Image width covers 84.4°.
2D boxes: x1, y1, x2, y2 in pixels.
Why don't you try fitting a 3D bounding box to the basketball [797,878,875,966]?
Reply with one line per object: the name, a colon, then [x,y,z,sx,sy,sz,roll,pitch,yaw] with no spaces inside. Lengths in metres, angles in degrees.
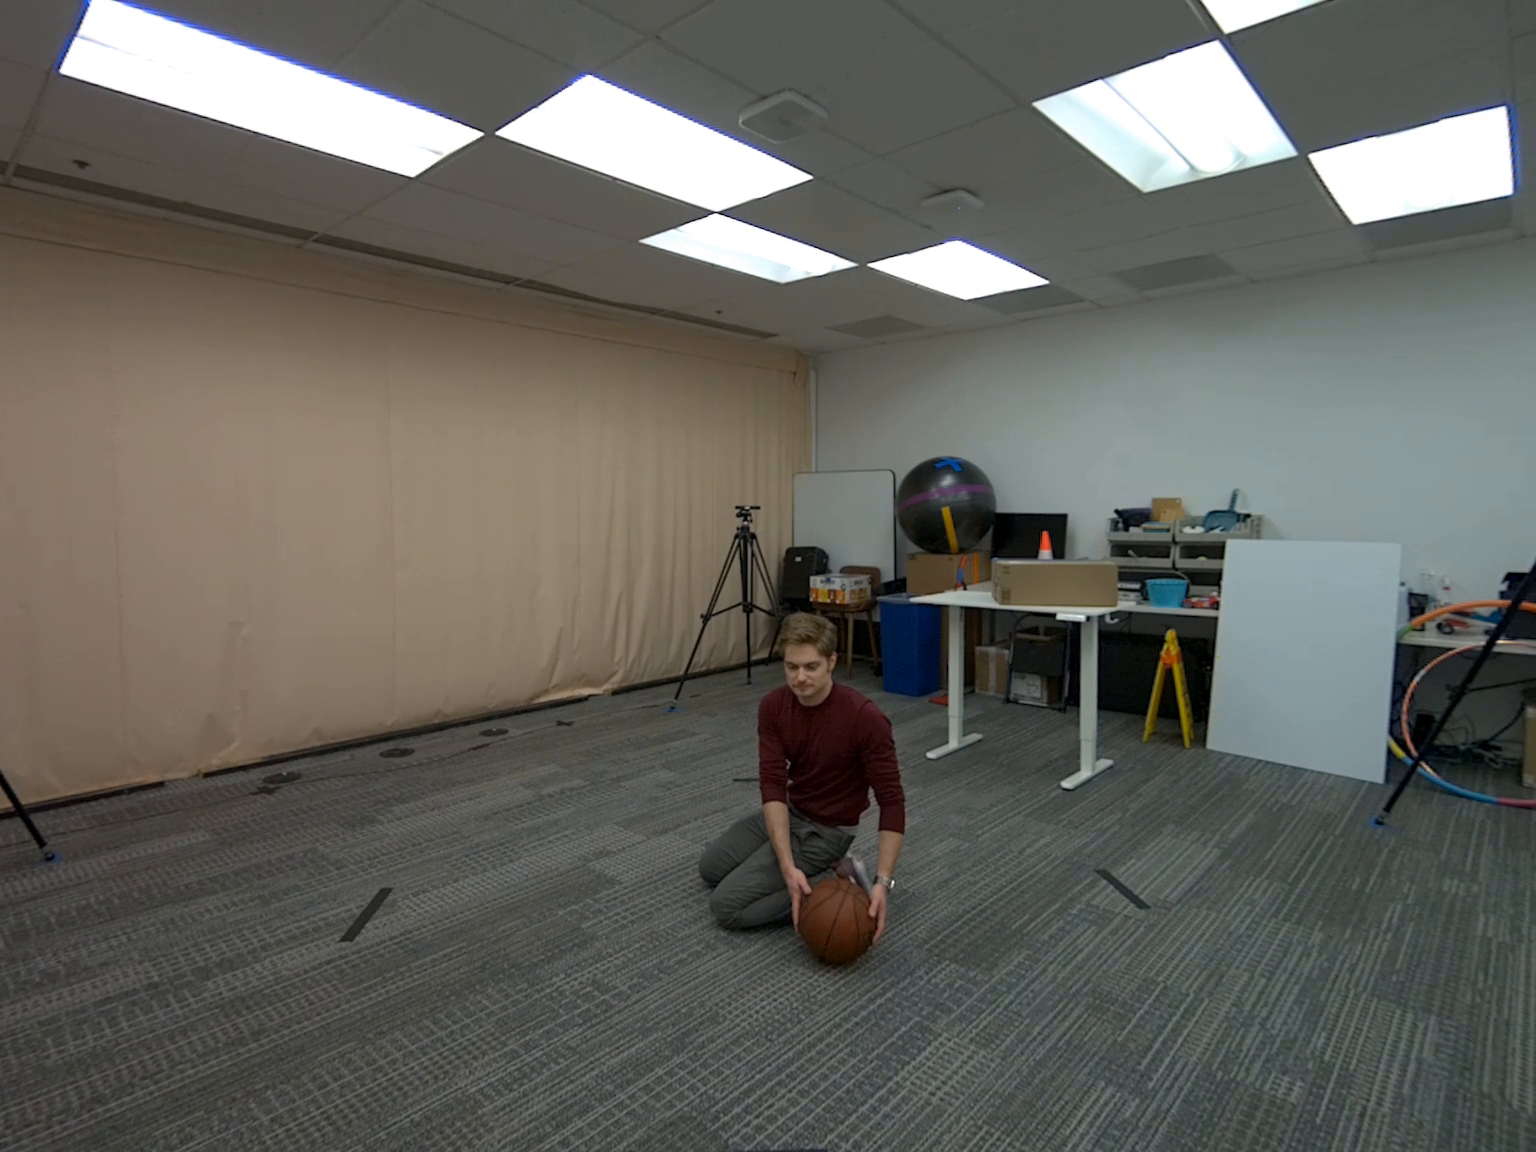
basketball: [0.216,1.043,2.582,0.236,0.235,0.237,0,4,-2]
